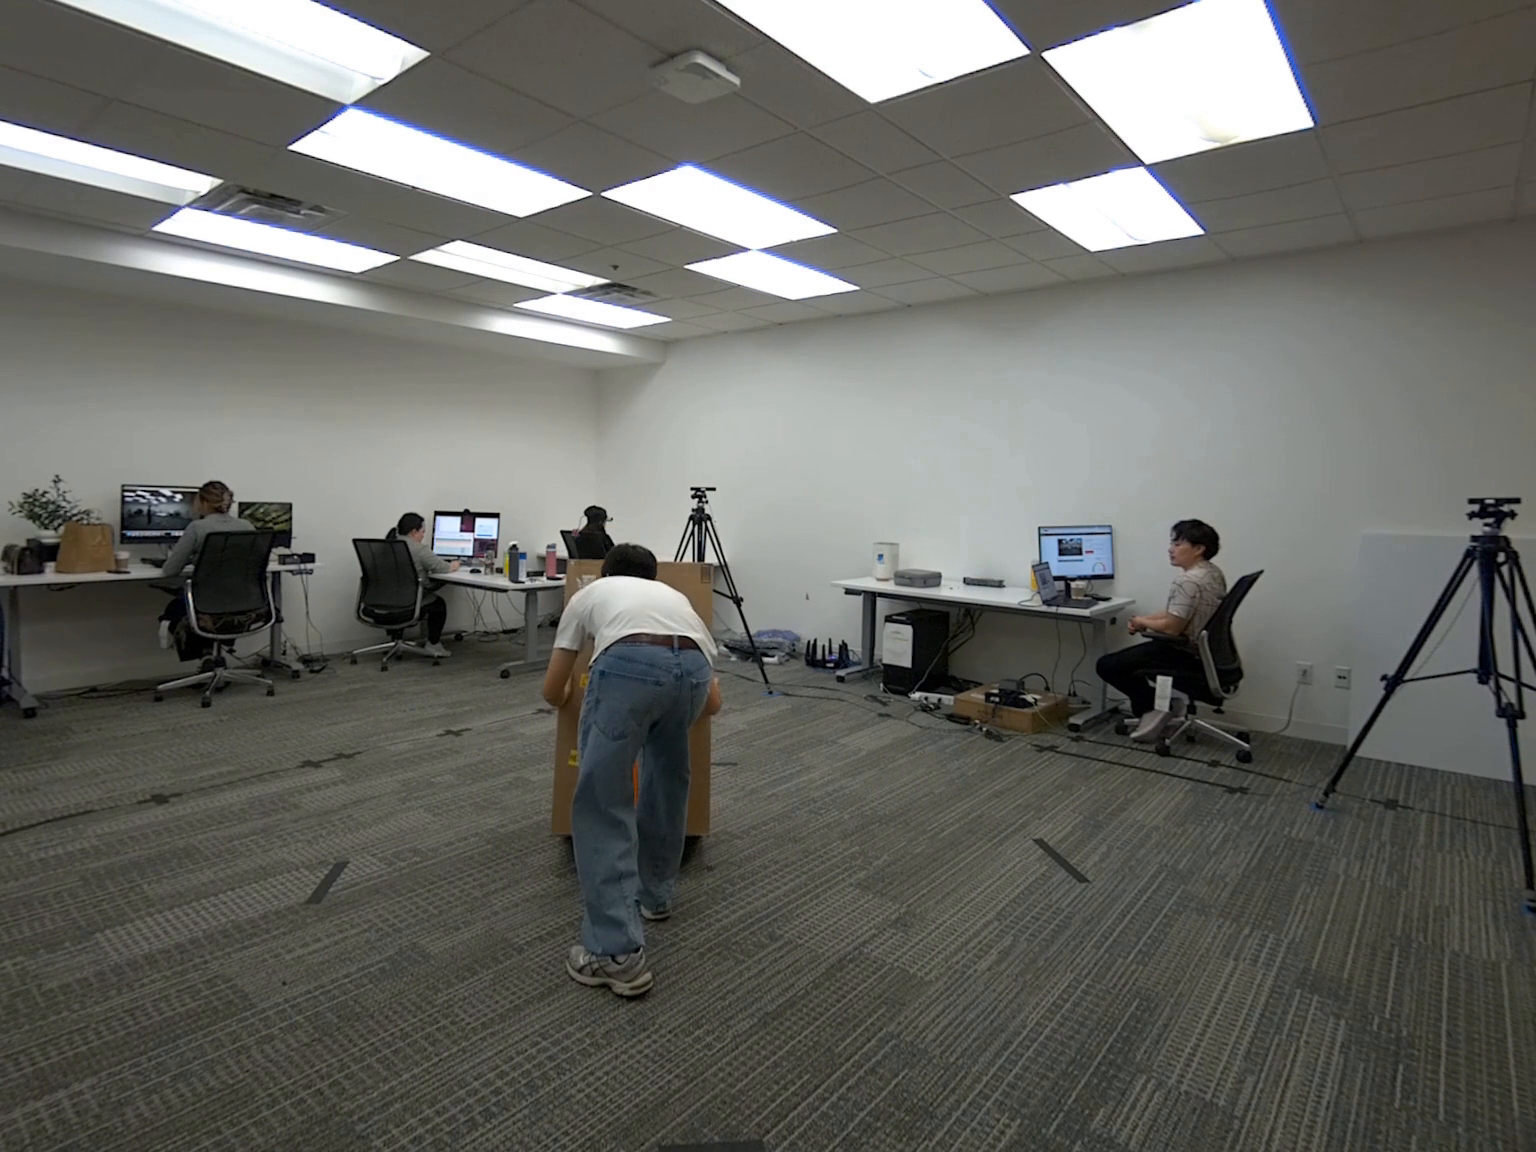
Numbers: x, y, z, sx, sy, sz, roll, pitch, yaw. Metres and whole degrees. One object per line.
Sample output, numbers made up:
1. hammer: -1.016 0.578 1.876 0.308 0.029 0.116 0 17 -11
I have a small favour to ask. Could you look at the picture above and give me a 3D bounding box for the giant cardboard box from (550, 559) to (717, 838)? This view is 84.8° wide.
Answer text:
1. giant cardboard box: -0.533 0.480 3.384 0.575 1.042 0.422 1 -16 -5
